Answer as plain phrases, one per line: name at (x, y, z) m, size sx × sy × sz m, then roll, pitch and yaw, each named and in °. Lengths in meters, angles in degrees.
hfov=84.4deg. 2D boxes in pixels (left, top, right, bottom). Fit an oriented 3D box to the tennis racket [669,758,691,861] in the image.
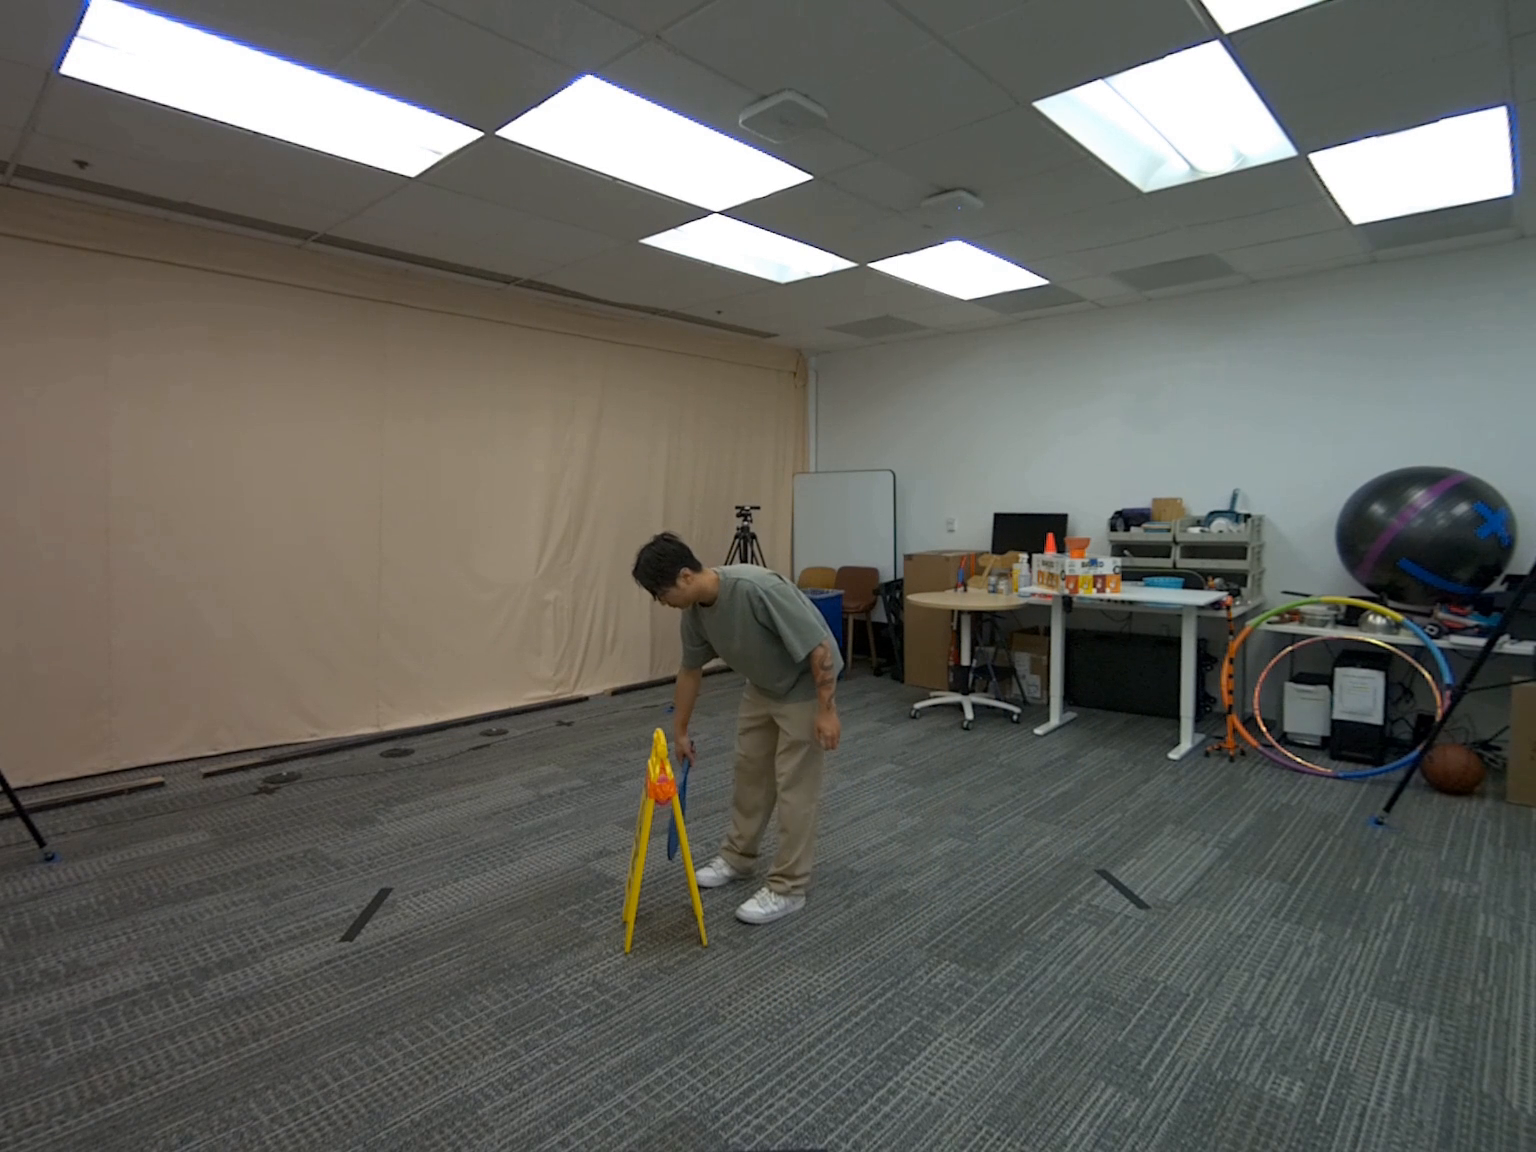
tennis racket at (-0.292, 0.848, 3.118) m, size 0.031 × 0.435 × 0.215 m, roll 5°, pitch -8°, yaw -11°
